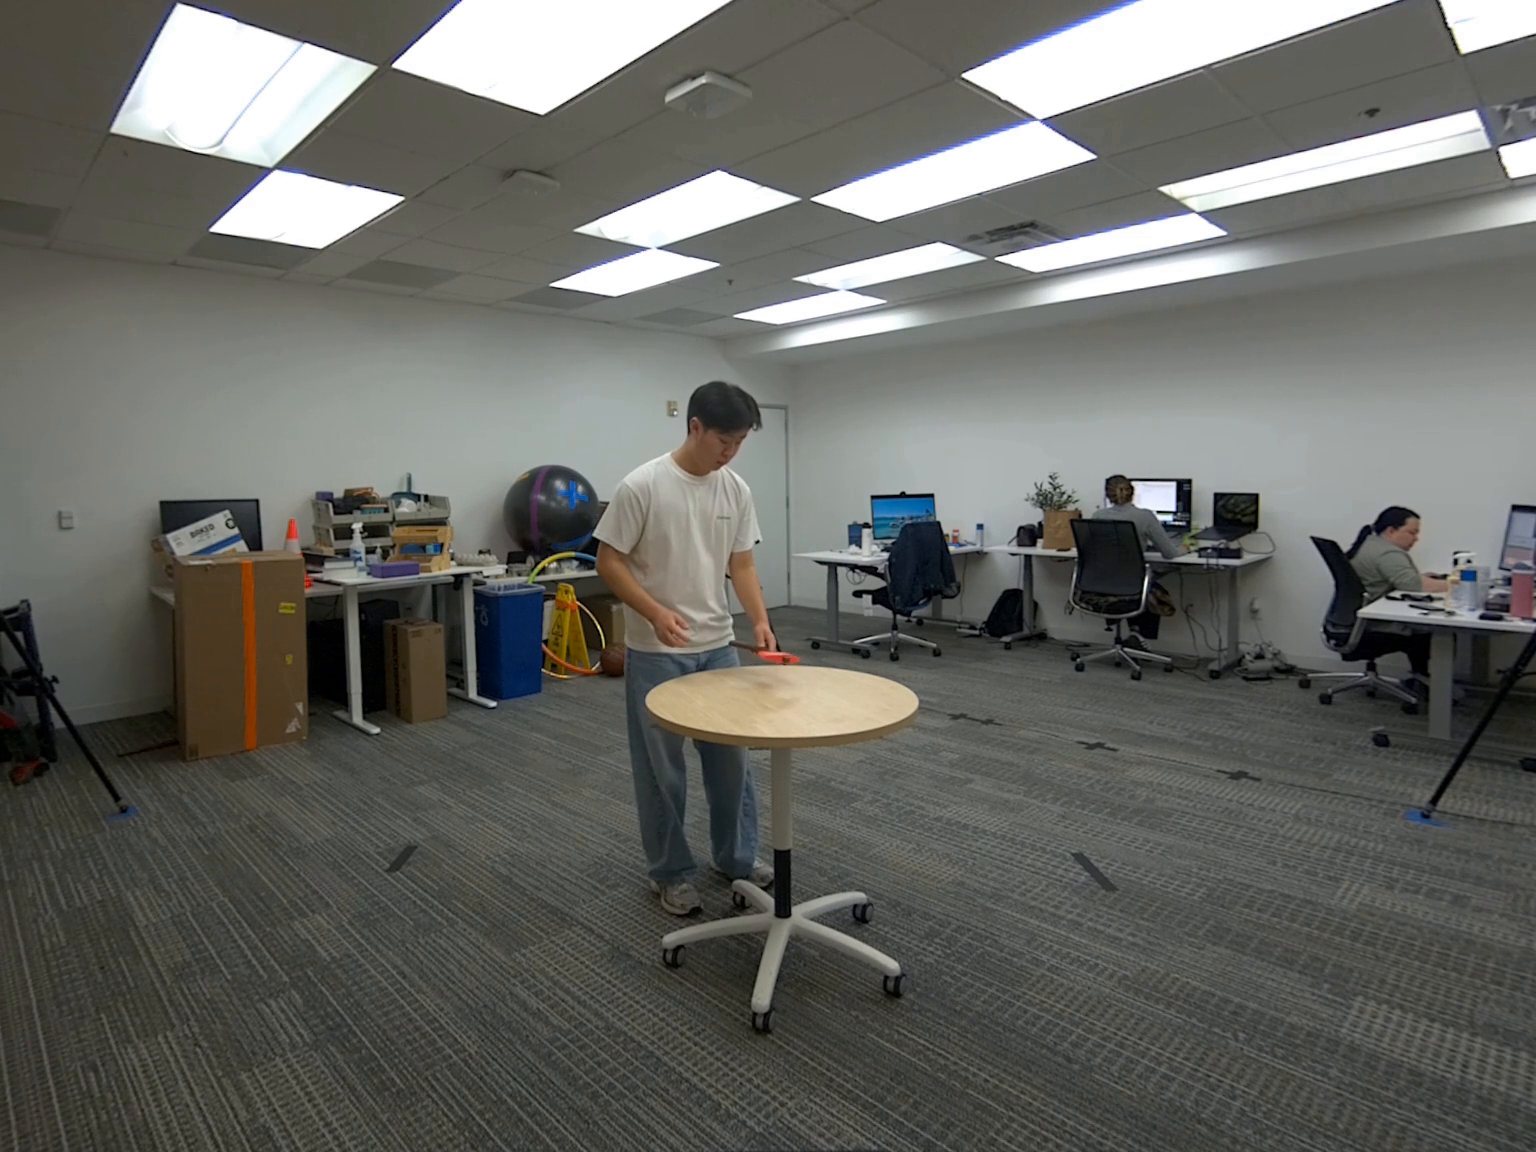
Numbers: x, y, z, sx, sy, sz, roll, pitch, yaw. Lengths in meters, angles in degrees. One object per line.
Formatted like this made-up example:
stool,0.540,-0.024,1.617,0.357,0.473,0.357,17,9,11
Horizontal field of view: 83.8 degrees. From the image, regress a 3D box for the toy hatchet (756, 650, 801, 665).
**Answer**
toy hatchet,-0.040,0.235,2.598,0.279,0.029,0.127,9,5,40
